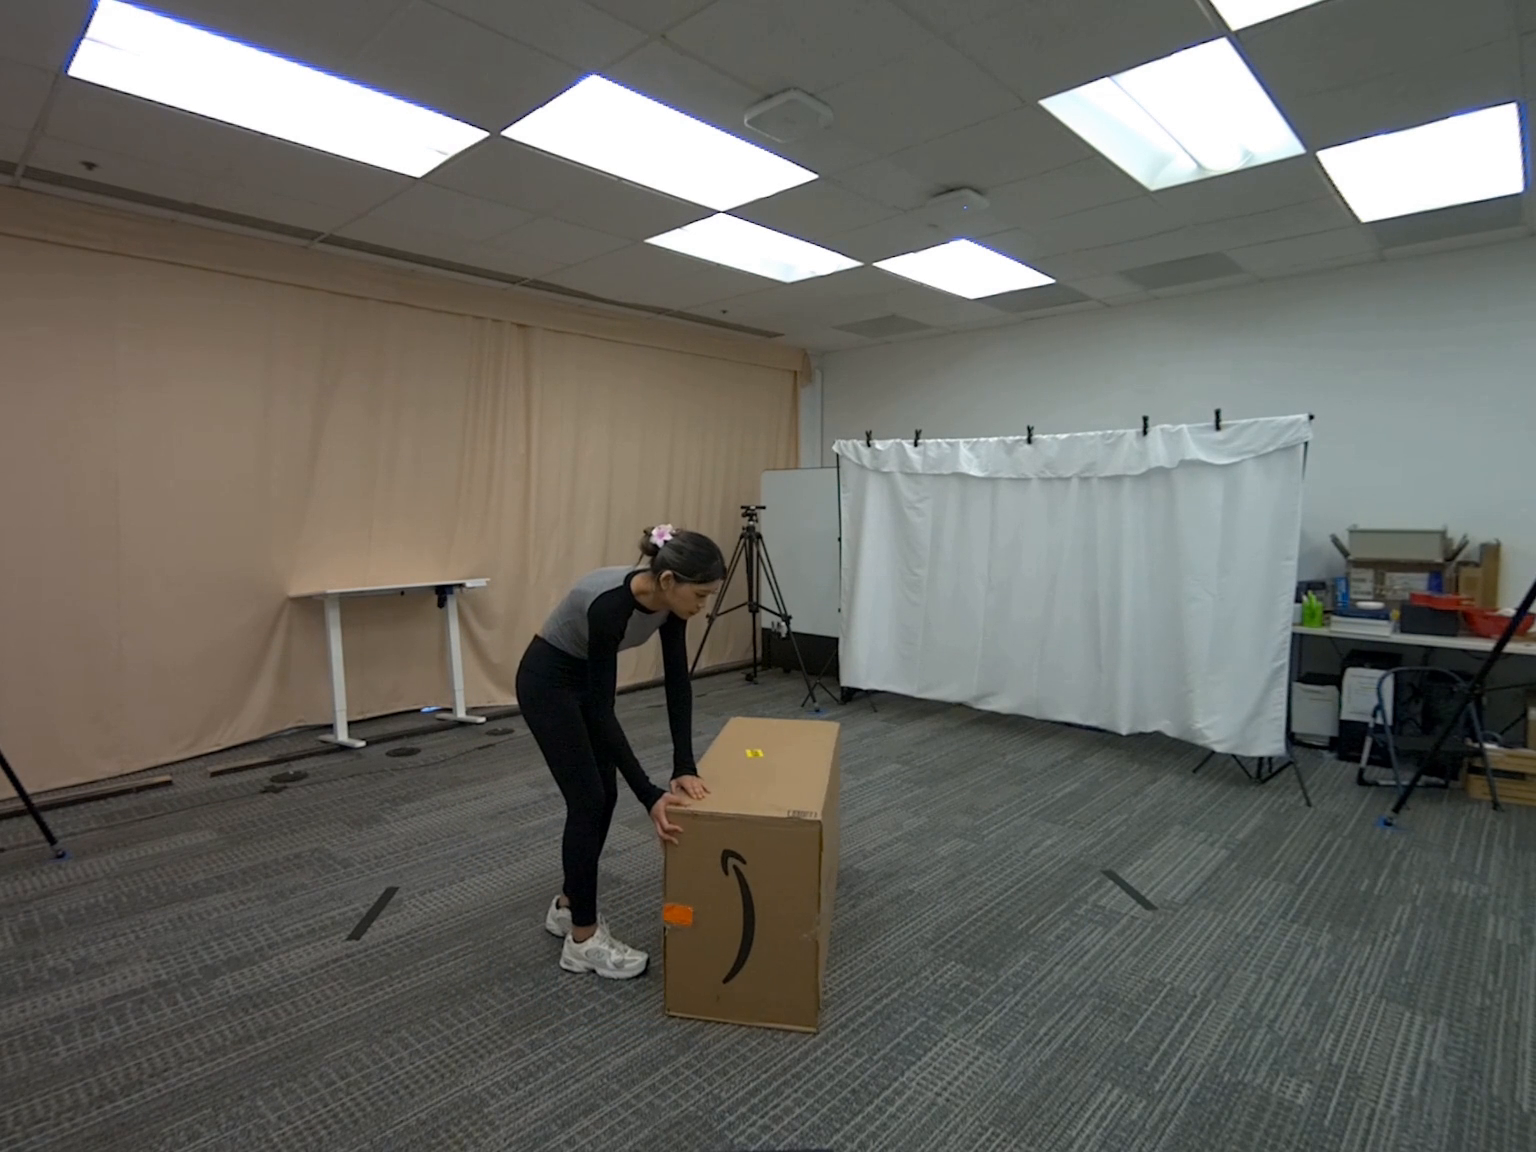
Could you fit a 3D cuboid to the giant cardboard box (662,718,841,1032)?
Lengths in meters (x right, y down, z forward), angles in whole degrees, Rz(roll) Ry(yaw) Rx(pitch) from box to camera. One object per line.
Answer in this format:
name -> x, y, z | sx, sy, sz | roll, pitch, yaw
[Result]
giant cardboard box -> -0.002, 0.874, 2.745 | 0.451, 0.583, 1.019 | 0, 4, 8
